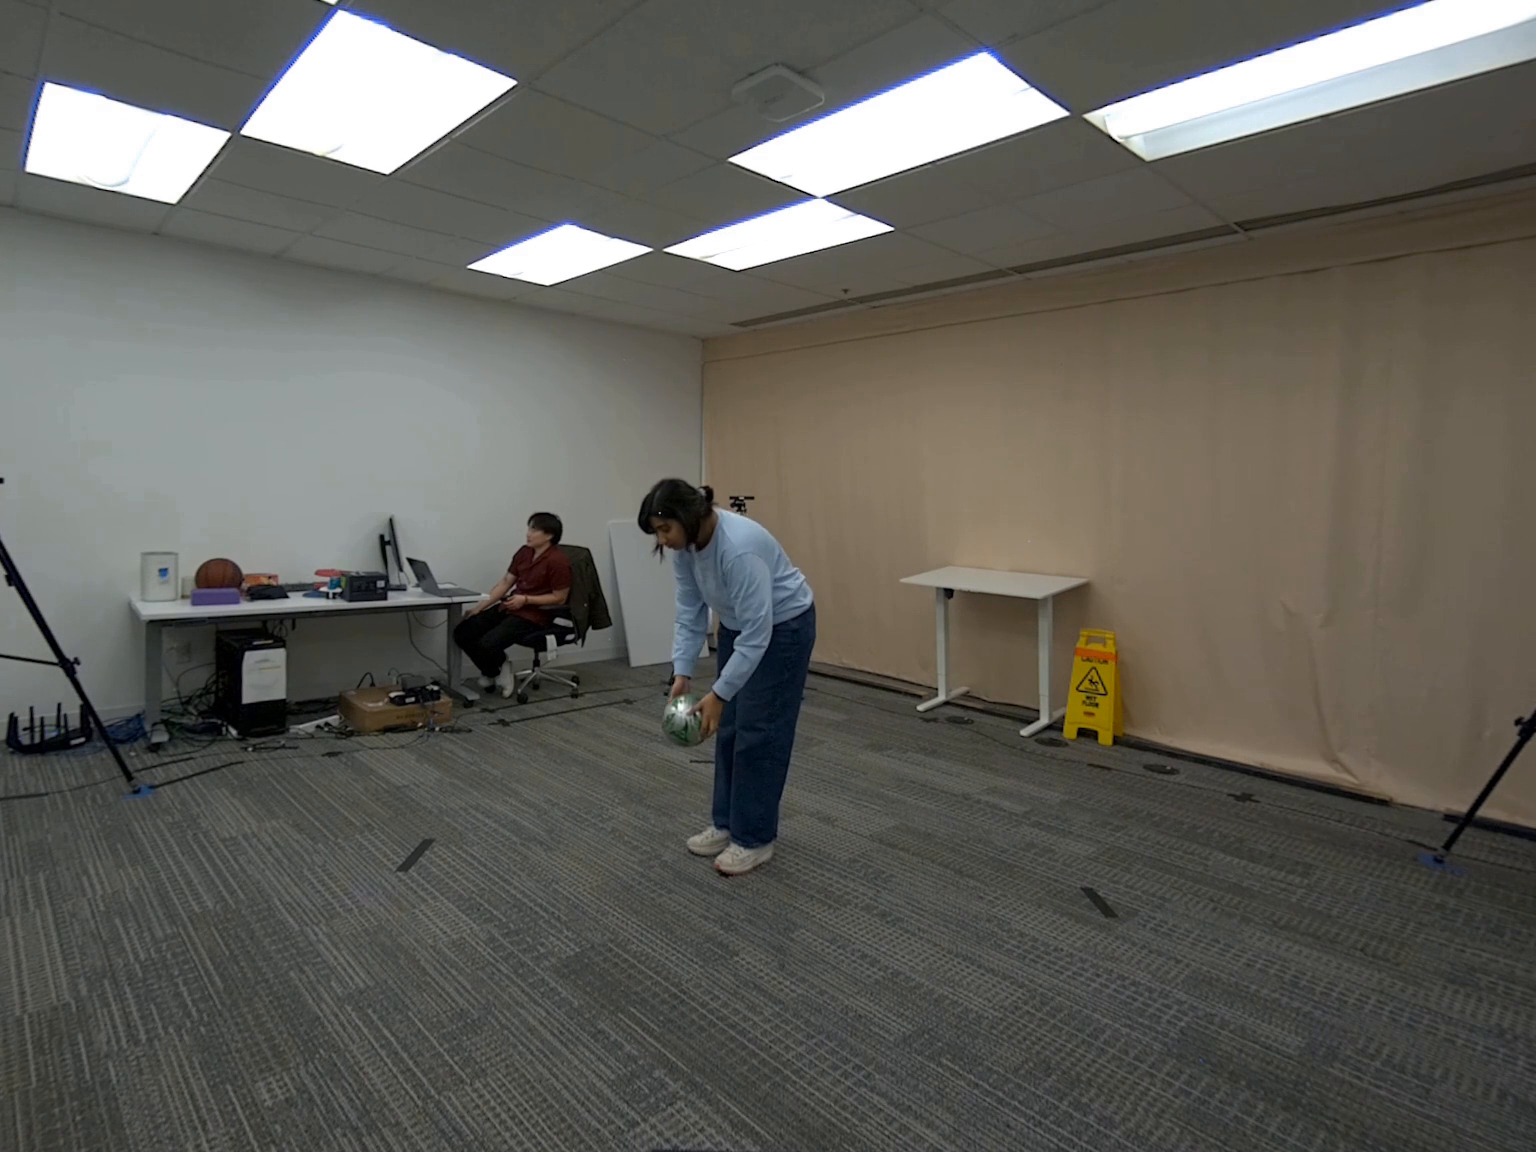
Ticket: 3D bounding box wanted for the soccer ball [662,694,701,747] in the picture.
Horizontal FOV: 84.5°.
[{"bbox_3d":[-0.297,0.521,3.024,0.187,0.187,0.188,1,4,-1],"label":"soccer ball"}]
